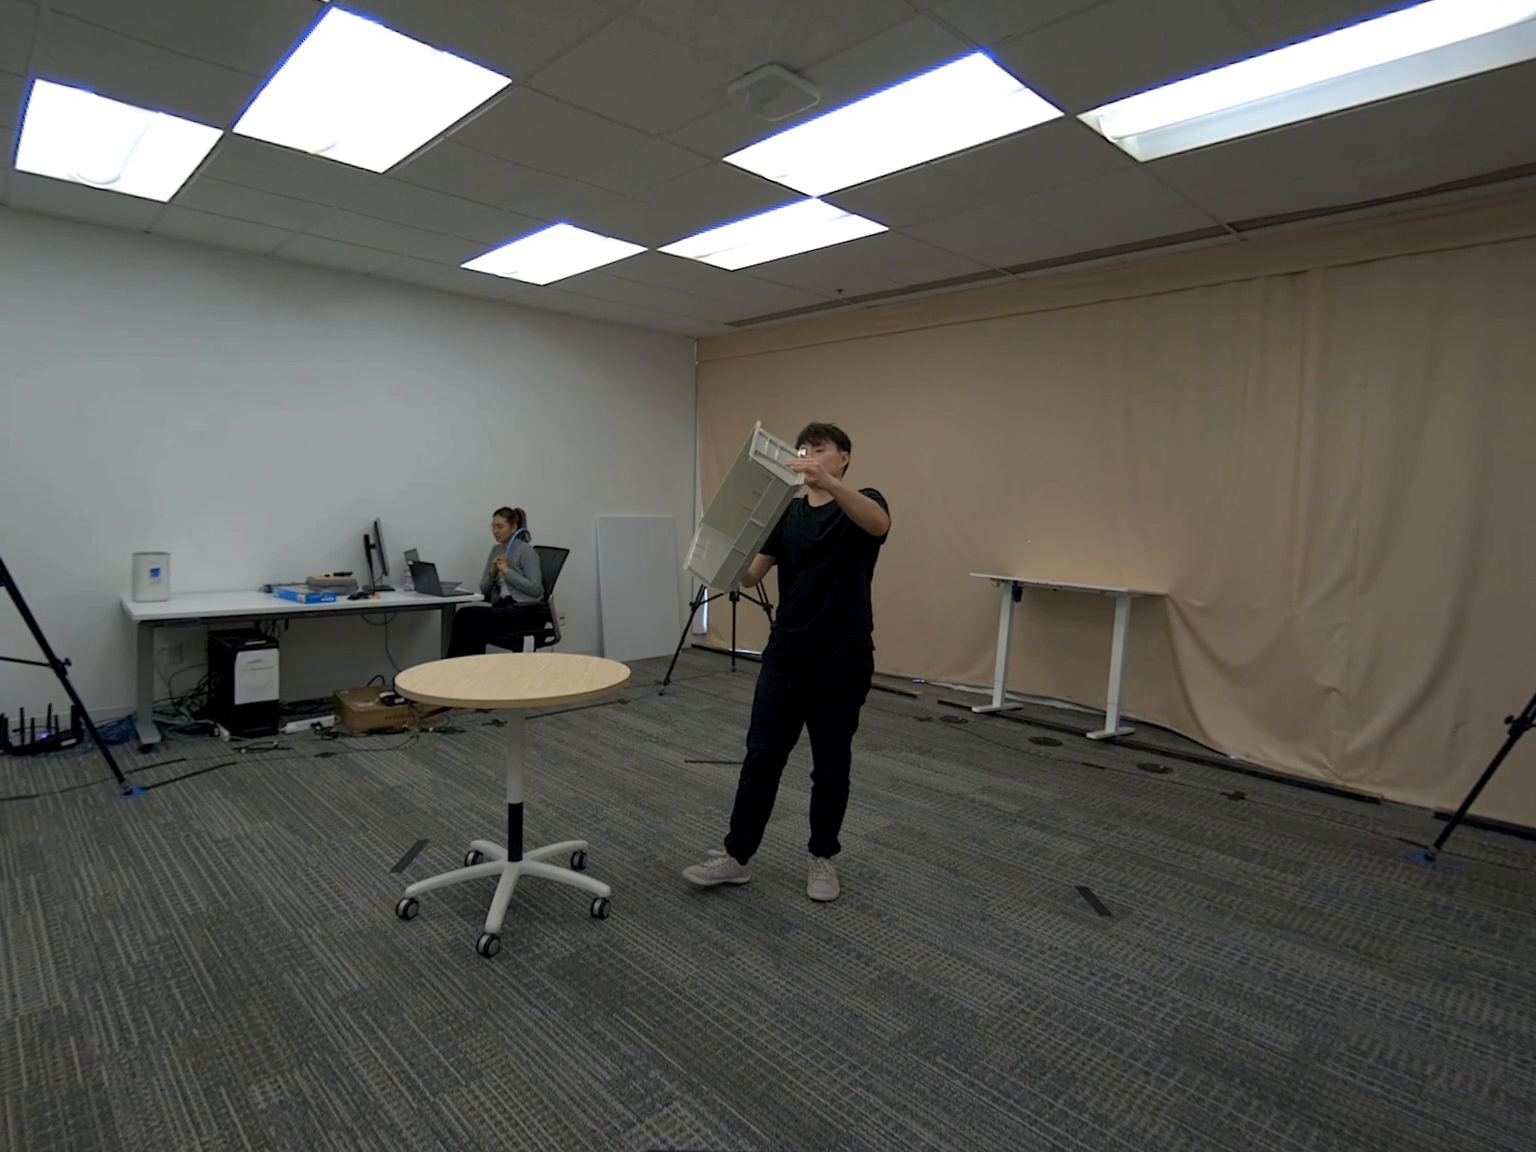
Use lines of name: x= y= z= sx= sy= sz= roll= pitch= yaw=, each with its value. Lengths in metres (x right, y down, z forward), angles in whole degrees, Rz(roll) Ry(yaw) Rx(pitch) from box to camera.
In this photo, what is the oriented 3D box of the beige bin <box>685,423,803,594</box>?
beige bin: x=-0.082 y=-0.206 z=2.593 sx=0.188 sy=0.420 sz=0.381 roll=29 pitch=24 yaw=-7
